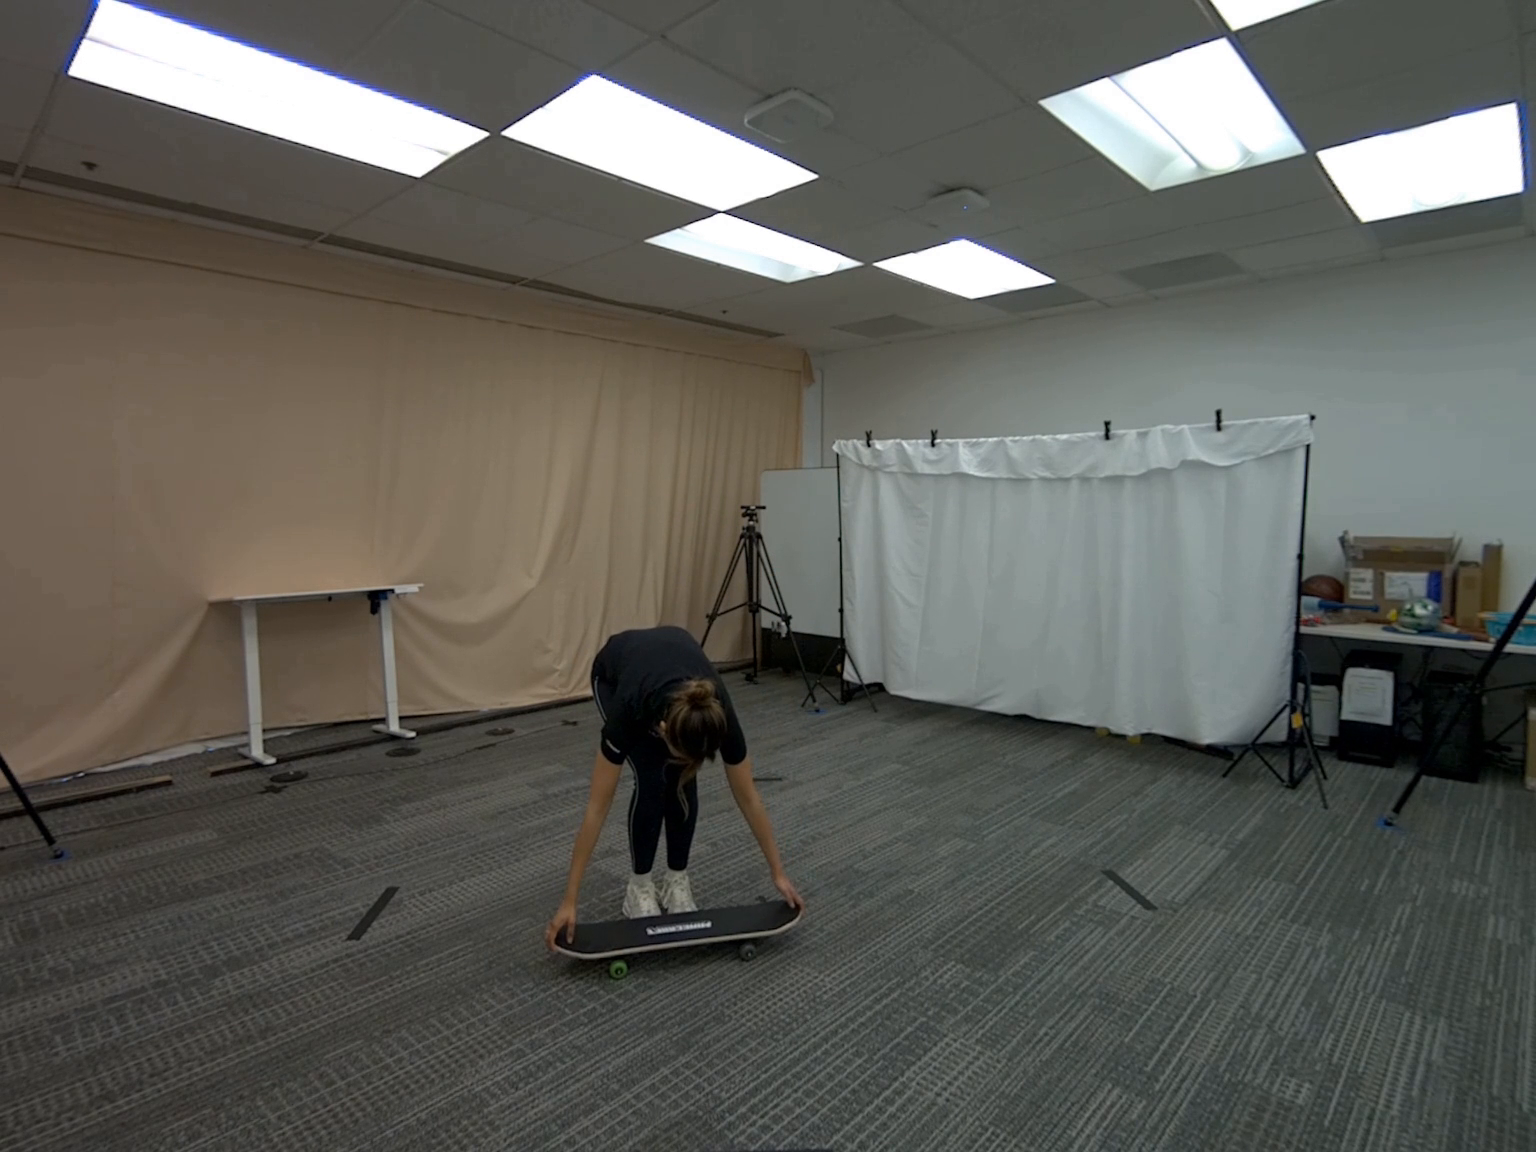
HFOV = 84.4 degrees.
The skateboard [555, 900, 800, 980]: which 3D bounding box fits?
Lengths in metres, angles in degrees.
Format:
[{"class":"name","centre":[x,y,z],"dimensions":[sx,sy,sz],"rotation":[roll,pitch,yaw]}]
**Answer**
[{"class":"skateboard","centre":[-0.261,1.112,2.606],"dimensions":[0.775,0.110,0.196],"rotation":[-1,3,-13]}]
